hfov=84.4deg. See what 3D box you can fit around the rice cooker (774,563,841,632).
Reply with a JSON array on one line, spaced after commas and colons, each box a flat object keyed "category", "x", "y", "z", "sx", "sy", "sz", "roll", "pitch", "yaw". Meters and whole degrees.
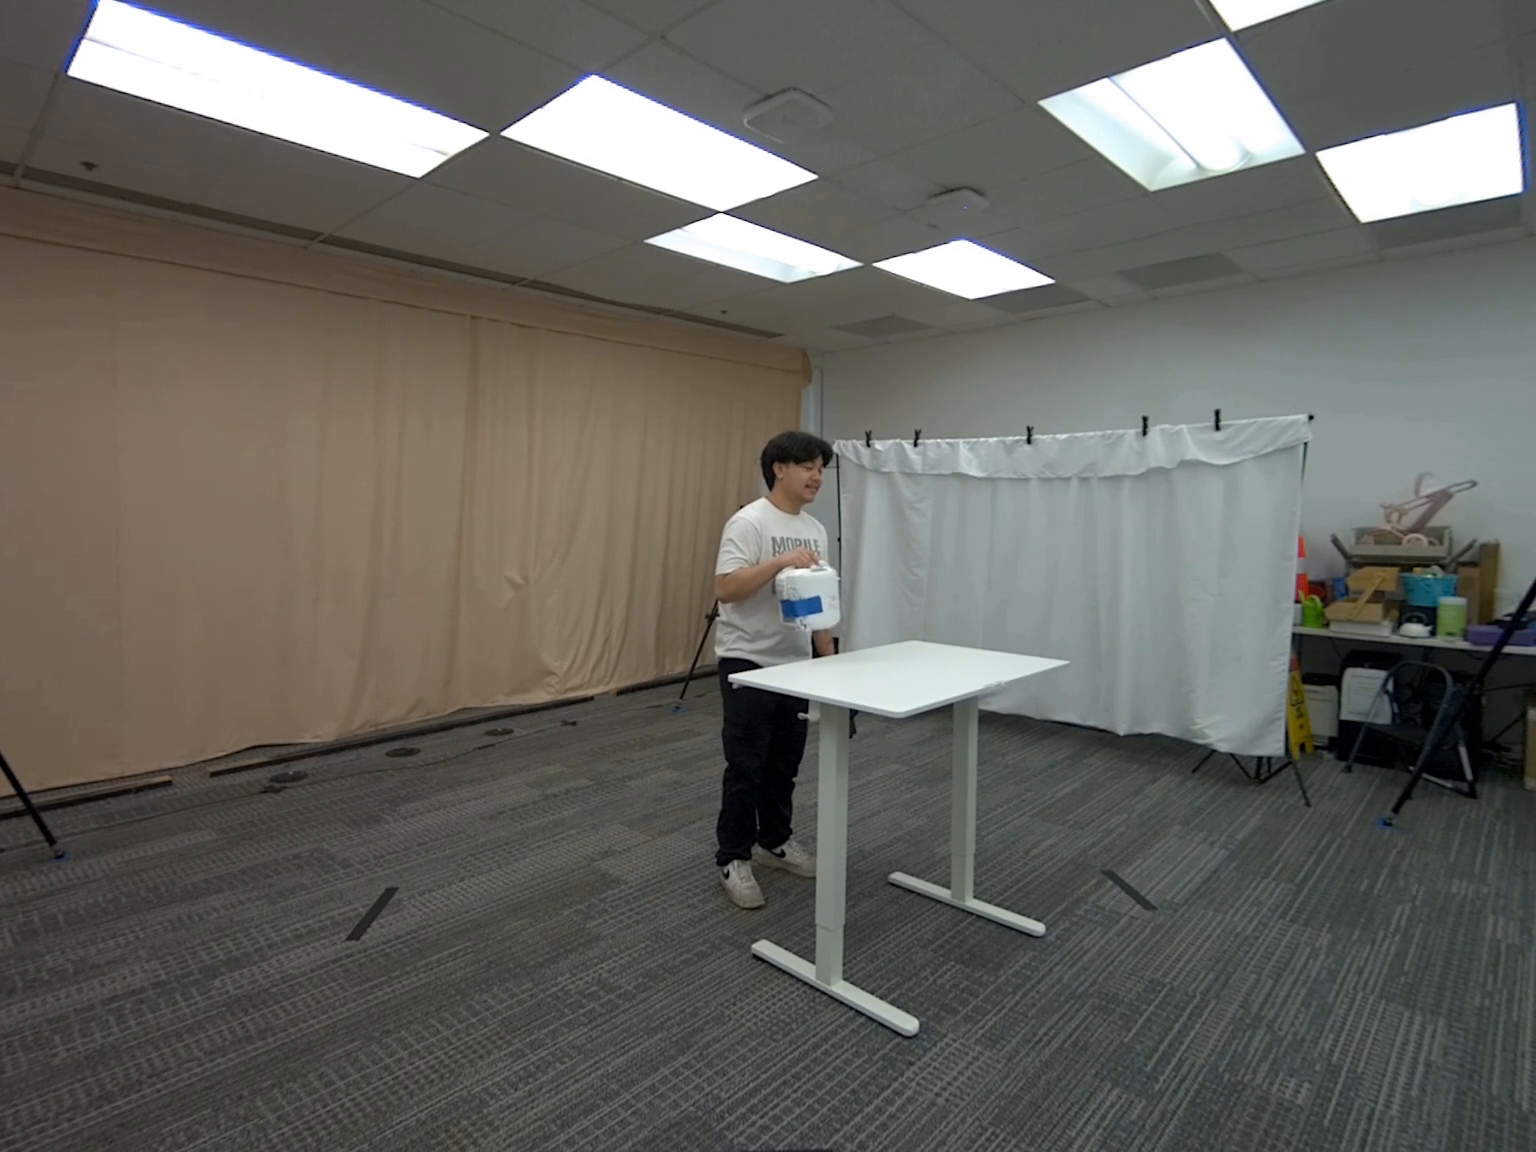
[{"category": "rice cooker", "x": 0.133, "y": 0.061, "z": 2.874, "sx": 0.216, "sy": 0.232, "sz": 0.222, "roll": -4, "pitch": 4, "yaw": -20}]
